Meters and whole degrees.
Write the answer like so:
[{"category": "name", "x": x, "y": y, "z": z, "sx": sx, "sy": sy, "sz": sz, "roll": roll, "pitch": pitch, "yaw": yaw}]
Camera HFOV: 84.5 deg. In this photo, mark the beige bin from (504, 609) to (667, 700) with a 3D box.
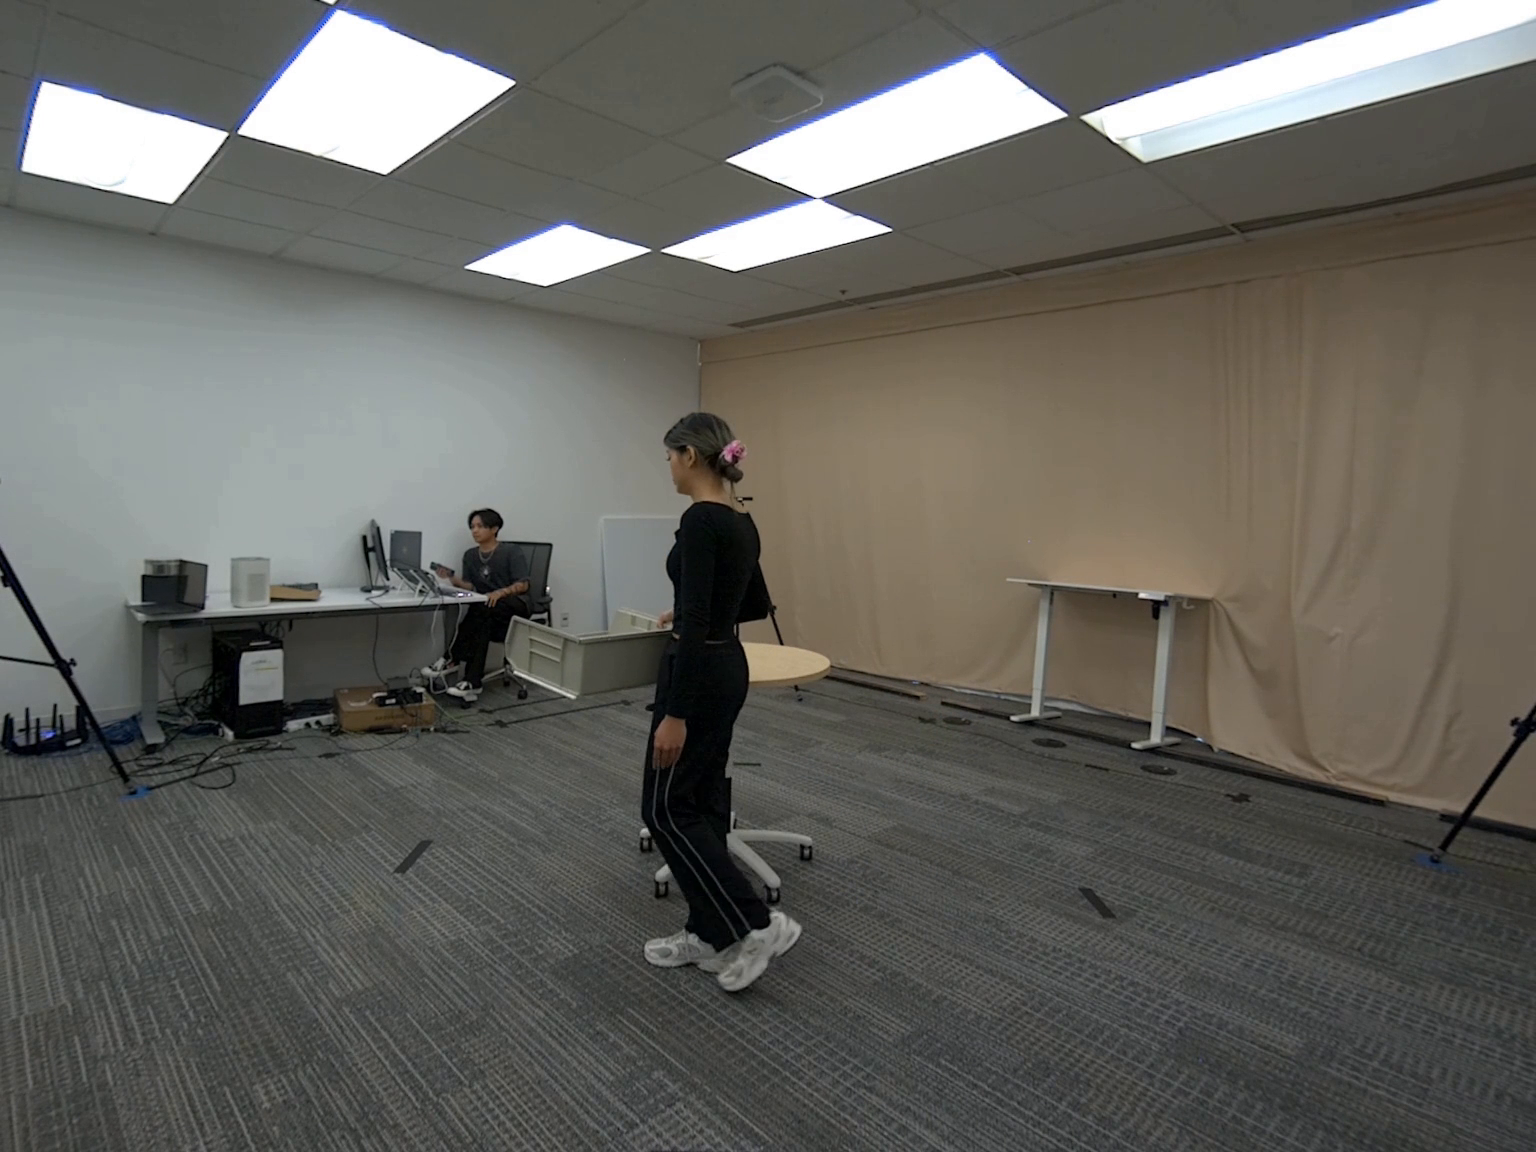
[{"category": "beige bin", "x": -0.535, "y": 0.225, "z": 2.609, "sx": 0.388, "sy": 0.188, "sz": 0.412, "roll": 12, "pitch": 9, "yaw": 41}]
